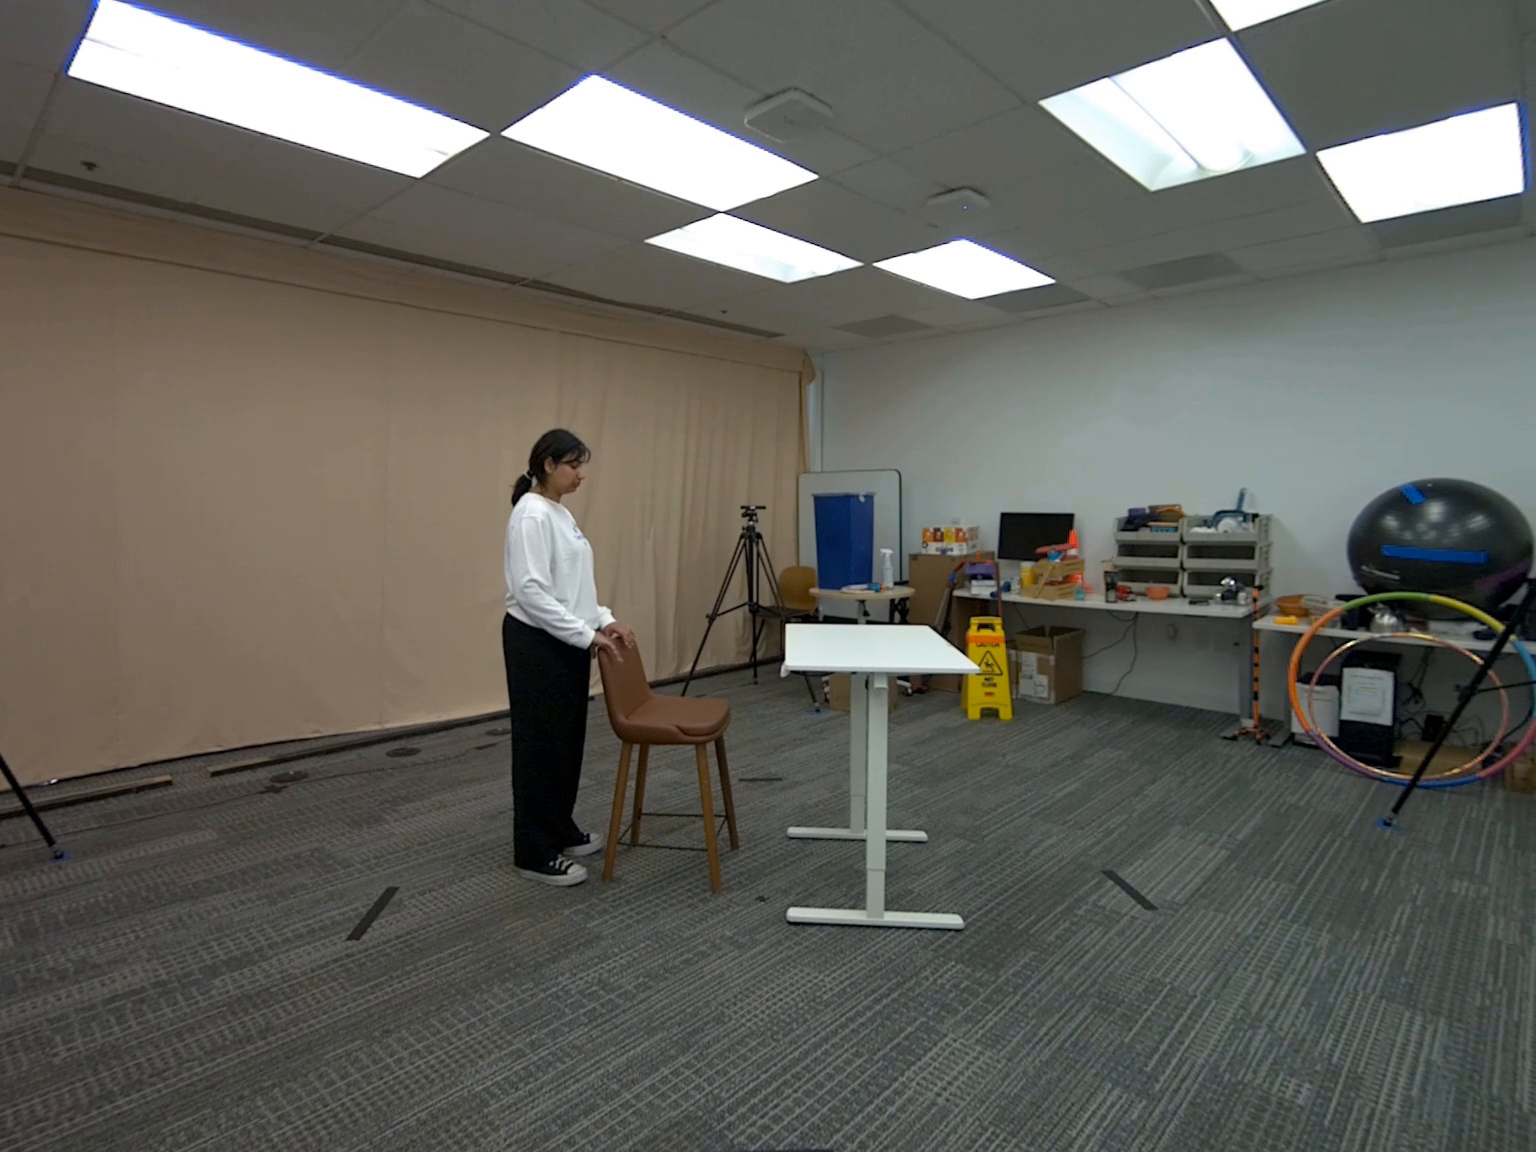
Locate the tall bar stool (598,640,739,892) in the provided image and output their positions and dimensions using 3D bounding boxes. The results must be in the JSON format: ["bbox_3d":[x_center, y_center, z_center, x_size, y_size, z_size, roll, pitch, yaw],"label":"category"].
[{"bbox_3d":[-0.380,0.689,3.236,0.473,0.888,0.452,-3,3,10],"label":"tall bar stool"}]
